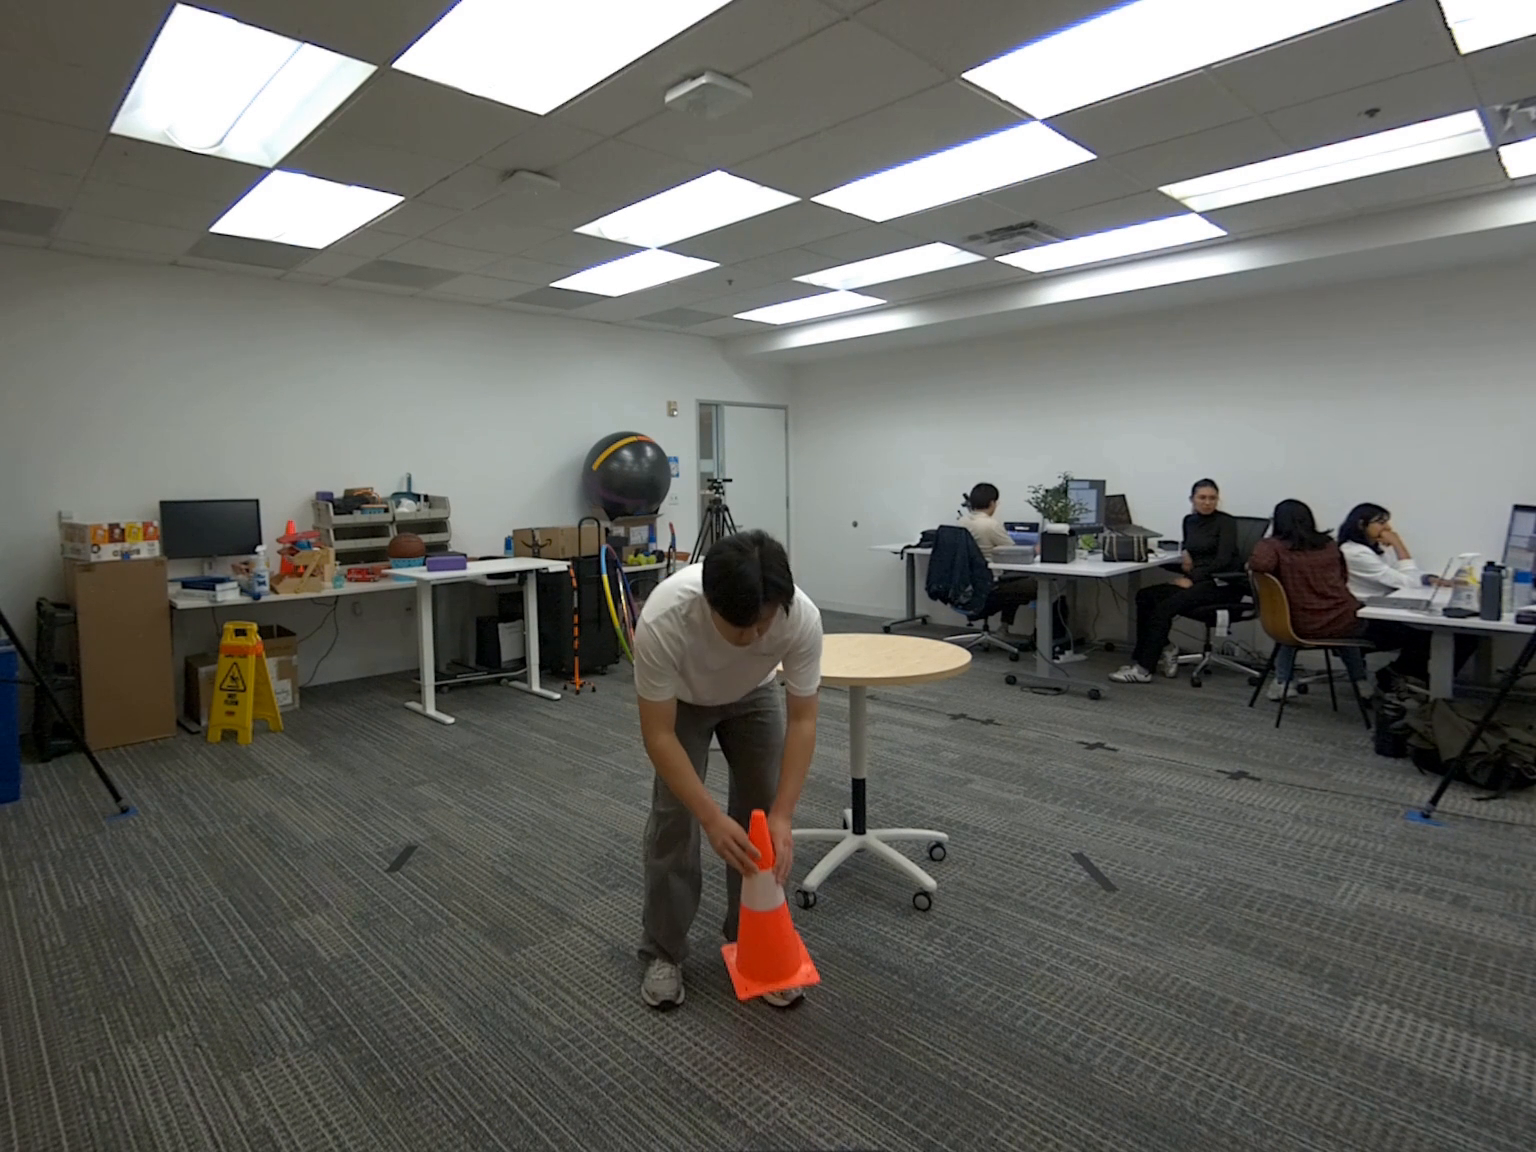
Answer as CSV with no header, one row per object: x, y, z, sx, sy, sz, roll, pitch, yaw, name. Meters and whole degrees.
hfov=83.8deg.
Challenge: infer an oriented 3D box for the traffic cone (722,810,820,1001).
-0.013,0.743,2.010,0.200,0.381,0.209,-9,9,-18,traffic cone
